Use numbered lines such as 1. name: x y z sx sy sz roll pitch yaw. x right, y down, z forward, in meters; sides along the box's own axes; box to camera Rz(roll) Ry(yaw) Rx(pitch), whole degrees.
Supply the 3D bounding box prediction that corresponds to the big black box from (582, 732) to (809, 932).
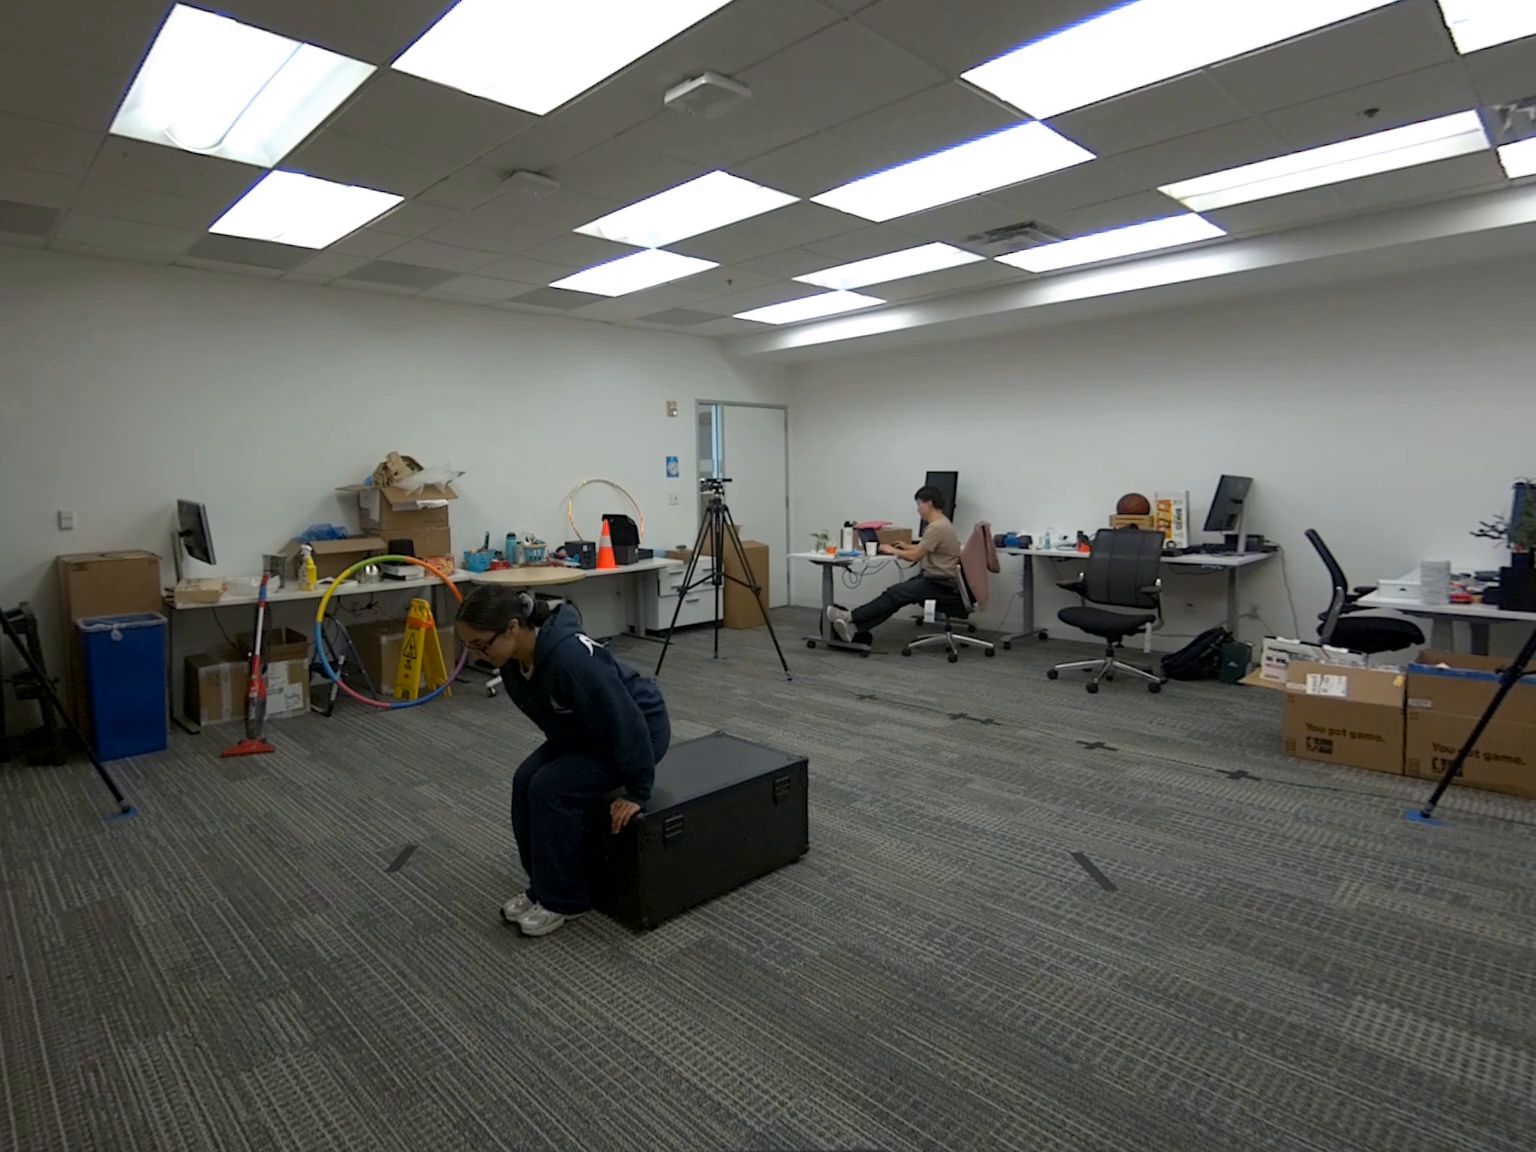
1. big black box: -0.266 0.863 3.060 0.840 0.394 0.537 -8 9 -44
